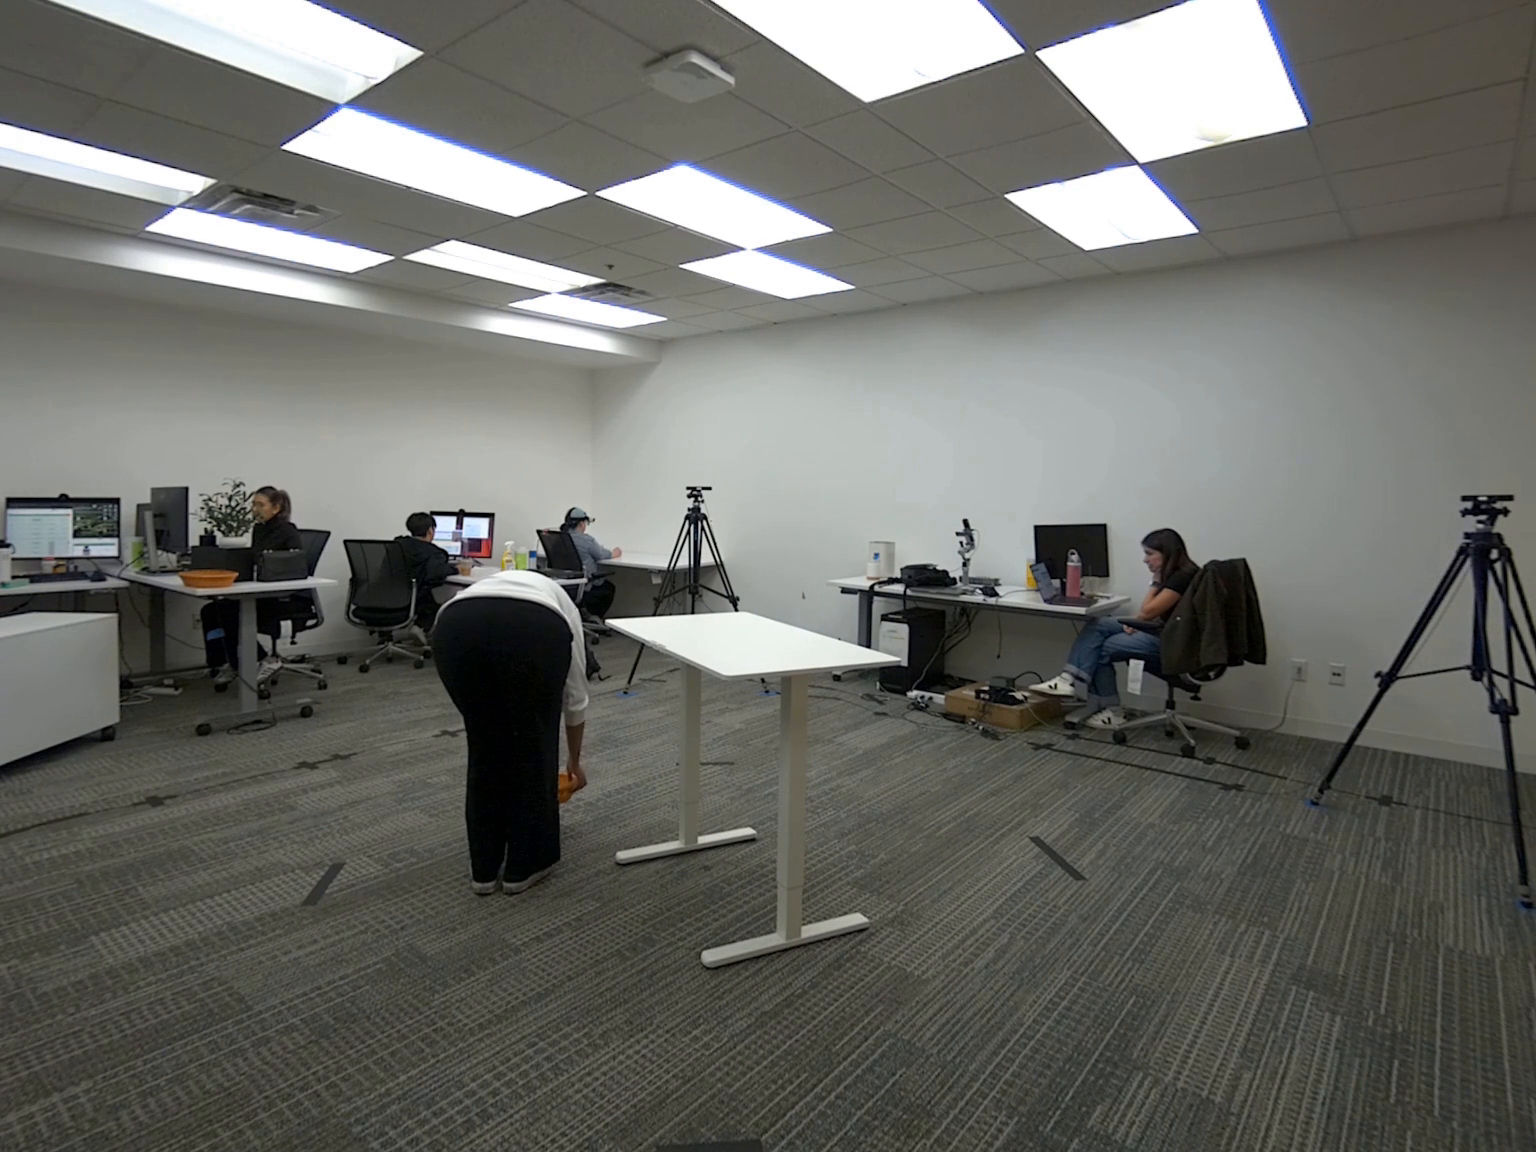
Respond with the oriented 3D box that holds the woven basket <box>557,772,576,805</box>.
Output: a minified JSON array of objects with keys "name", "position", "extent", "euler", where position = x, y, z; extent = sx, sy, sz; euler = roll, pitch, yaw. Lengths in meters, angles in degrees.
[{"name":"woven basket","position":[-0.938,0.842,3.370],"extent":[0.348,0.073,0.254],"euler":[1,2,-8]}]
